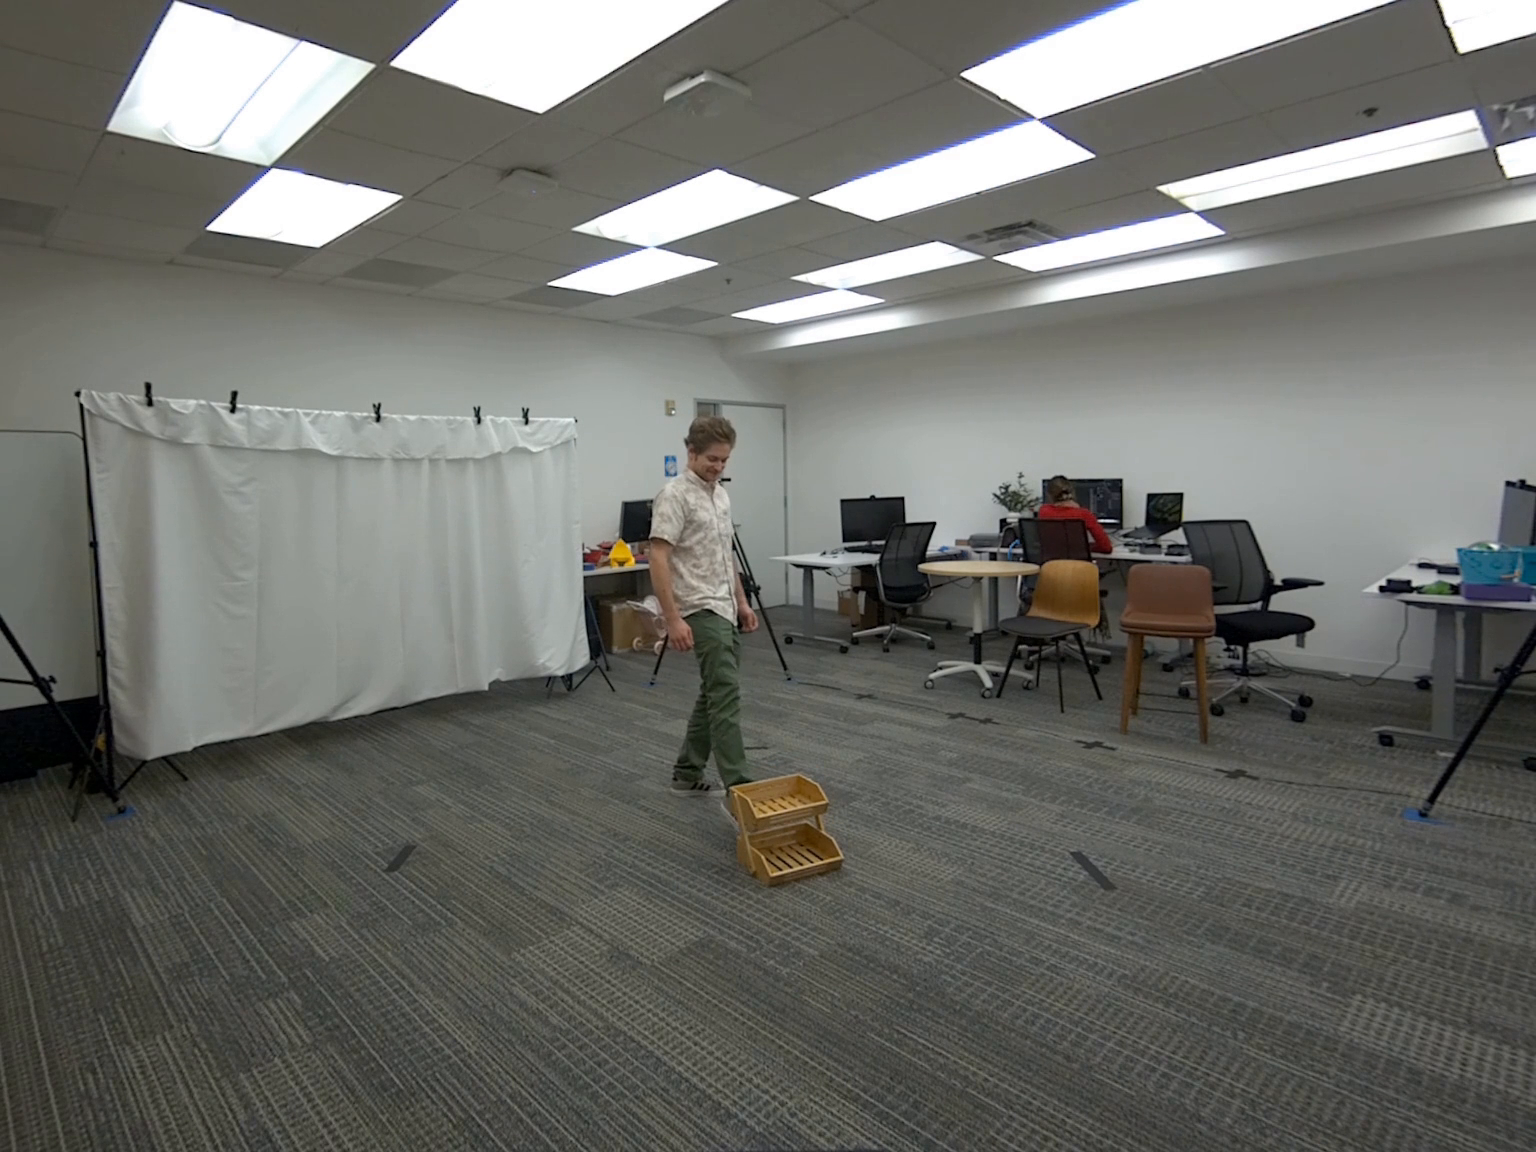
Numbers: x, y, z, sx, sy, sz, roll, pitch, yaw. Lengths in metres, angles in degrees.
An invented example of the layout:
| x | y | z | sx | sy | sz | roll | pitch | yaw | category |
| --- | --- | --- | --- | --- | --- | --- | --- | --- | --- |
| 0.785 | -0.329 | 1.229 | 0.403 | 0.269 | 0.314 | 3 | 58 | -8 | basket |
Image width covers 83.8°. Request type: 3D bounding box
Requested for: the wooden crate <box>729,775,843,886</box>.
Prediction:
| x | y | z | sx | sy | sz | roll | pitch | yaw | category |
| --- | --- | --- | --- | --- | --- | --- | --- | --- | --- |
| 0.072 | 0.907 | 3.091 | 0.317 | 0.272 | 0.310 | -4 | 5 | -28 | wooden crate |
